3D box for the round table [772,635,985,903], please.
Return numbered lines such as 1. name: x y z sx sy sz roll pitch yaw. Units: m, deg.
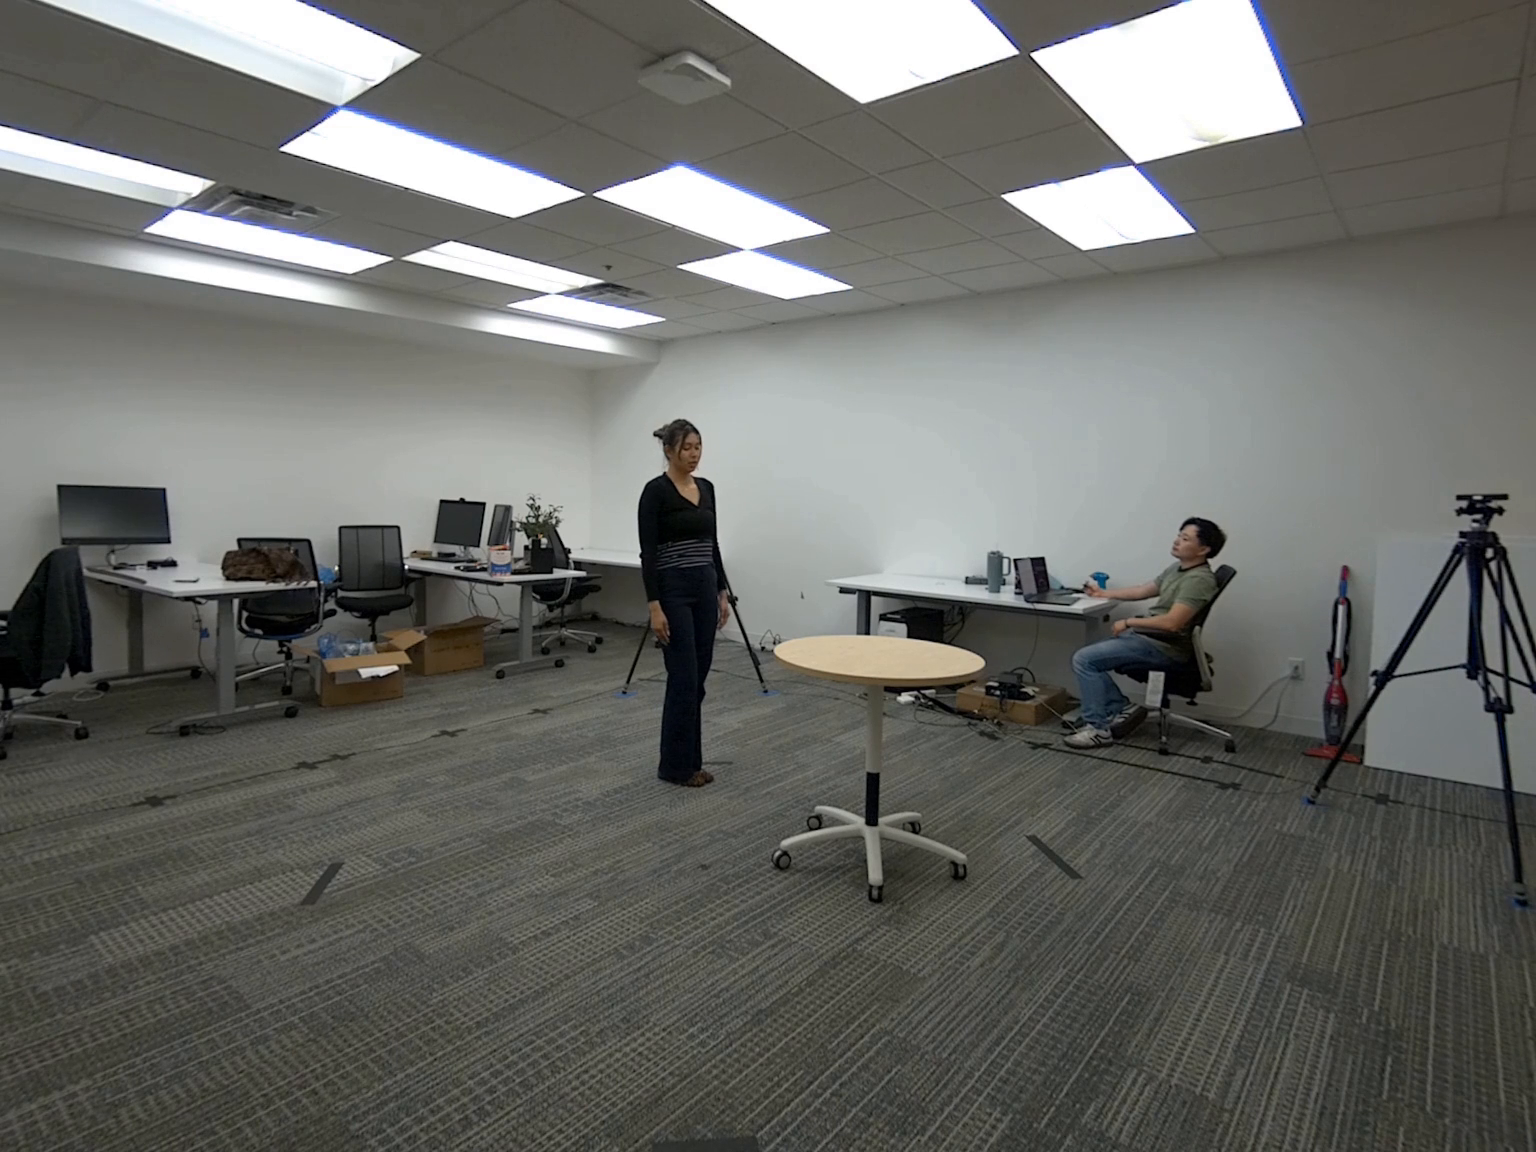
1. round table: 0.386 0.680 3.180 0.763 0.791 0.768 1 5 -2
